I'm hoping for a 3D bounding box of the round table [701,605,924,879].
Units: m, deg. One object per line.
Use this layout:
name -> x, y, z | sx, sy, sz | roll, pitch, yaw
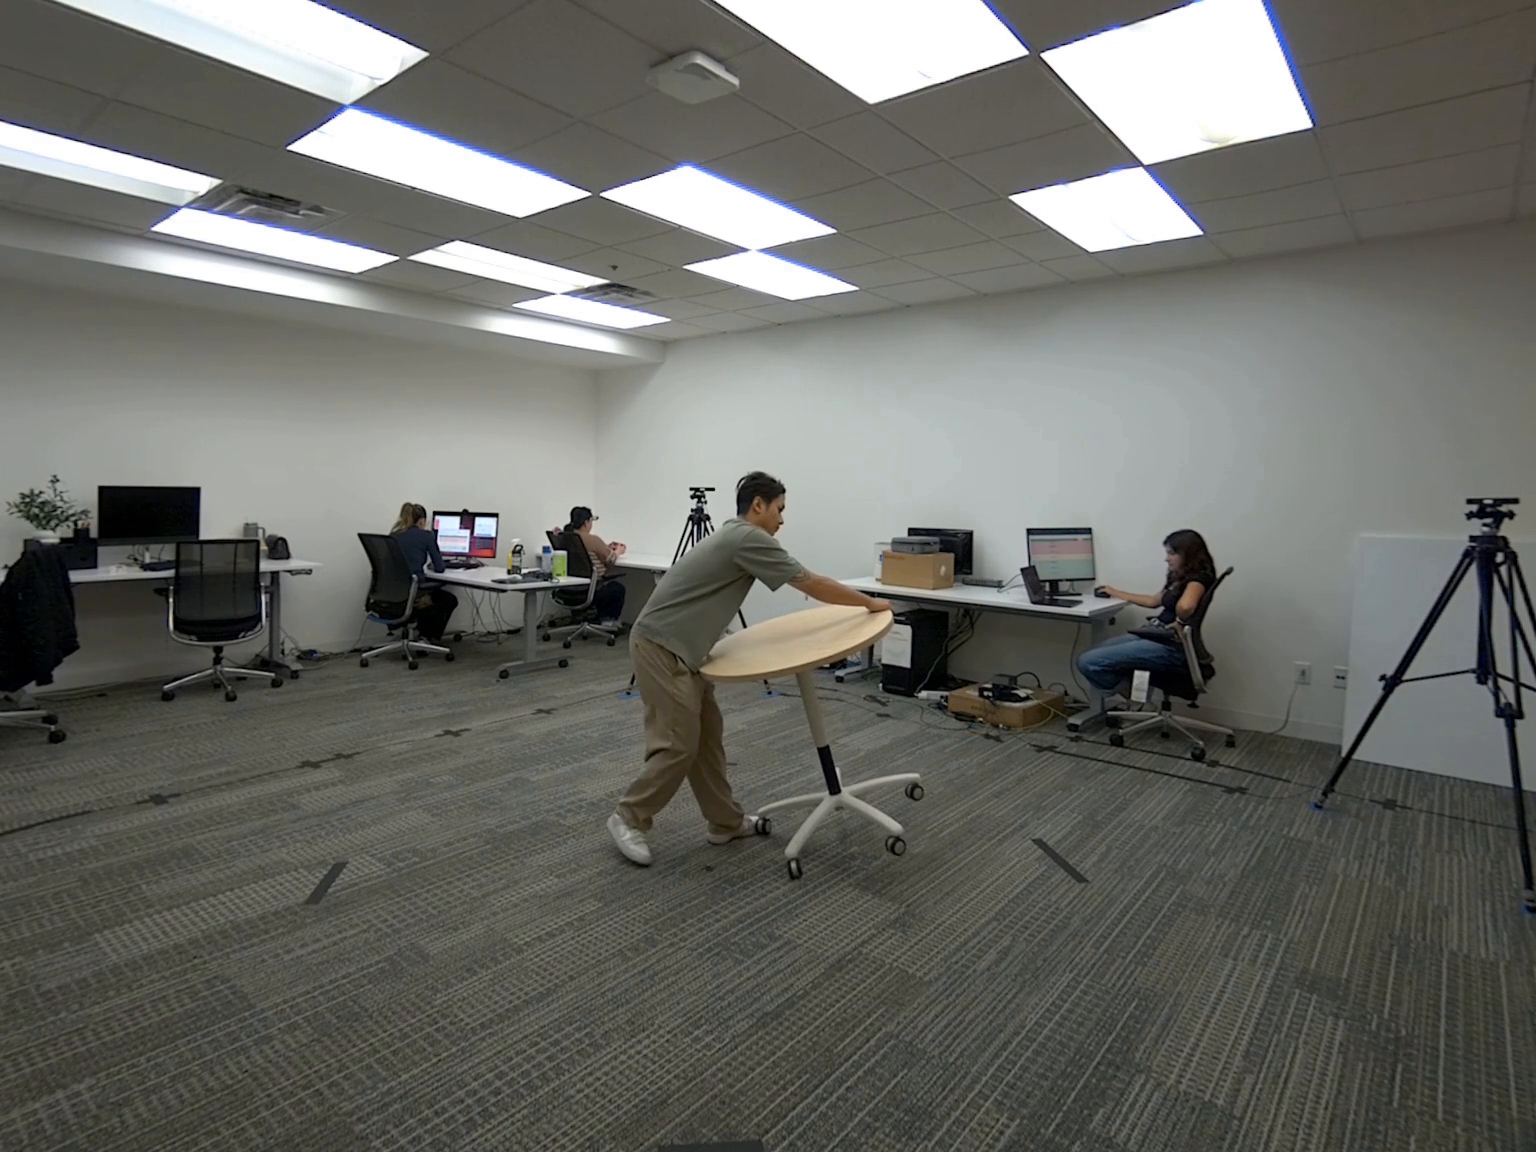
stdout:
round table -> 0.197, 0.596, 3.279 | 0.786, 0.780, 0.792 | -15, 8, 0
